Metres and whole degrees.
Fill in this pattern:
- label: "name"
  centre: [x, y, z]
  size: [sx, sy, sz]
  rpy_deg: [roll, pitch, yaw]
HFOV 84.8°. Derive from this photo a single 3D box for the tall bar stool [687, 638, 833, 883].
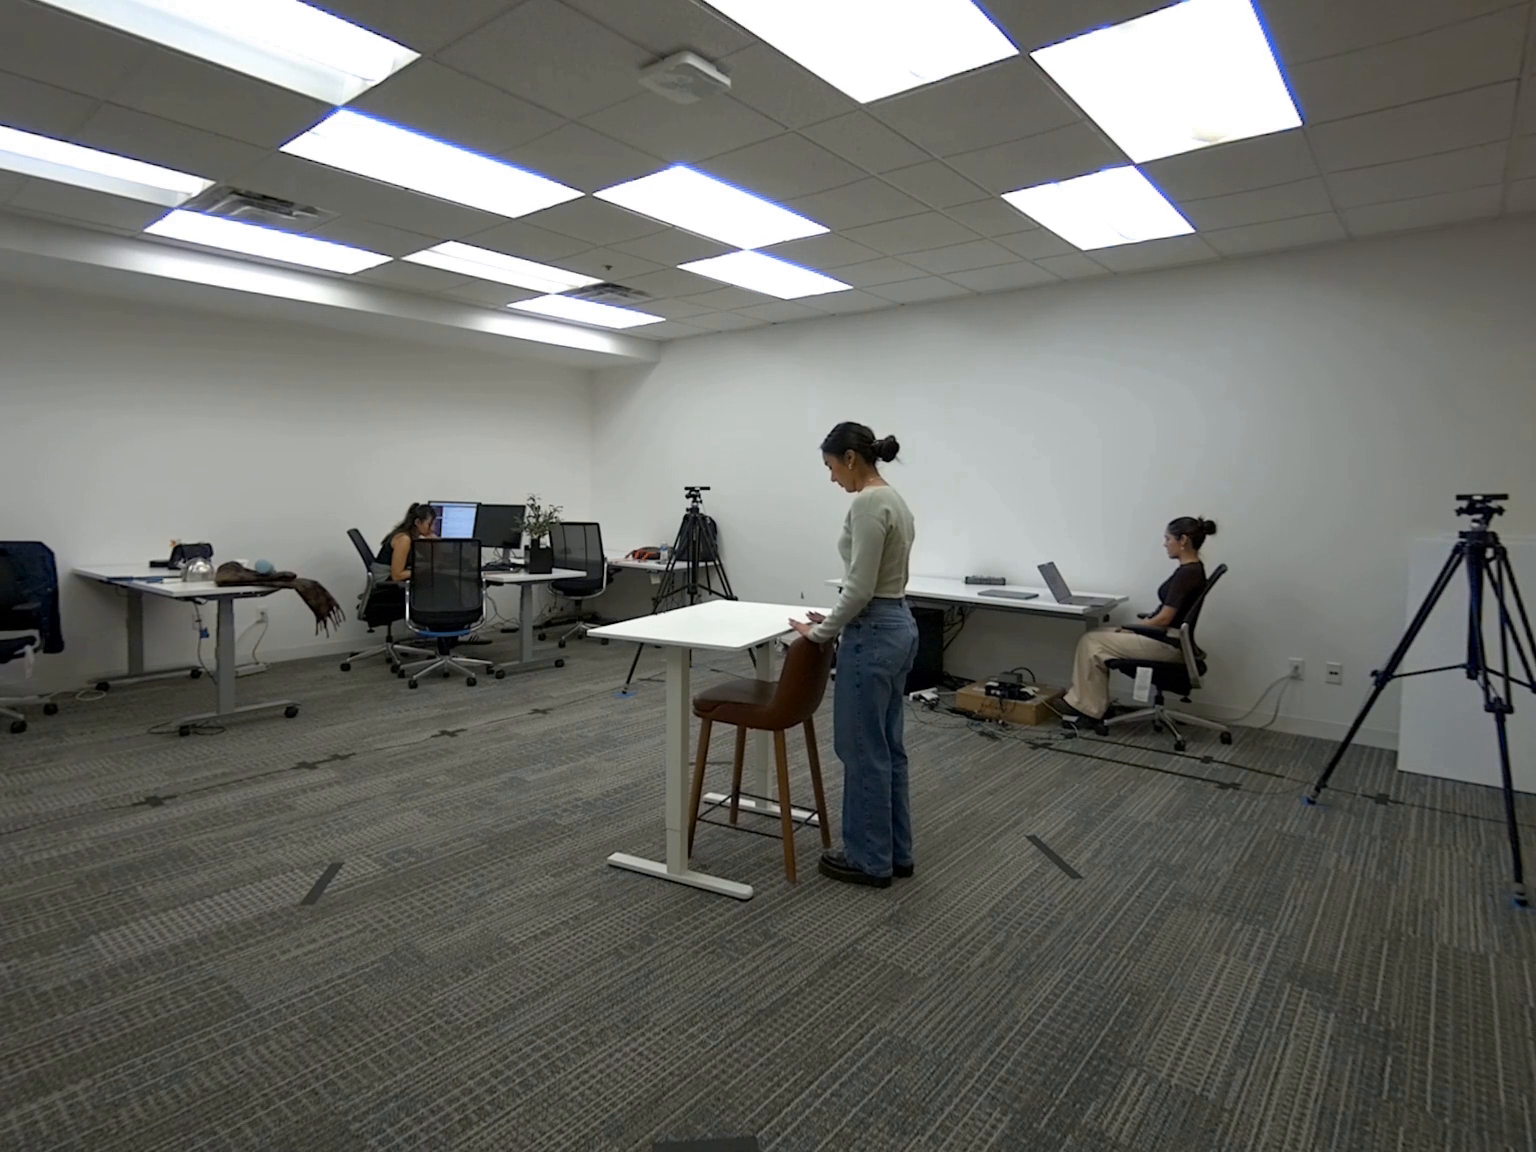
- label: "tall bar stool"
  centre: [-0.020, 0.624, 3.247]
  size: [0.481, 0.887, 0.445]
  rpy_deg: [5, 4, 26]
